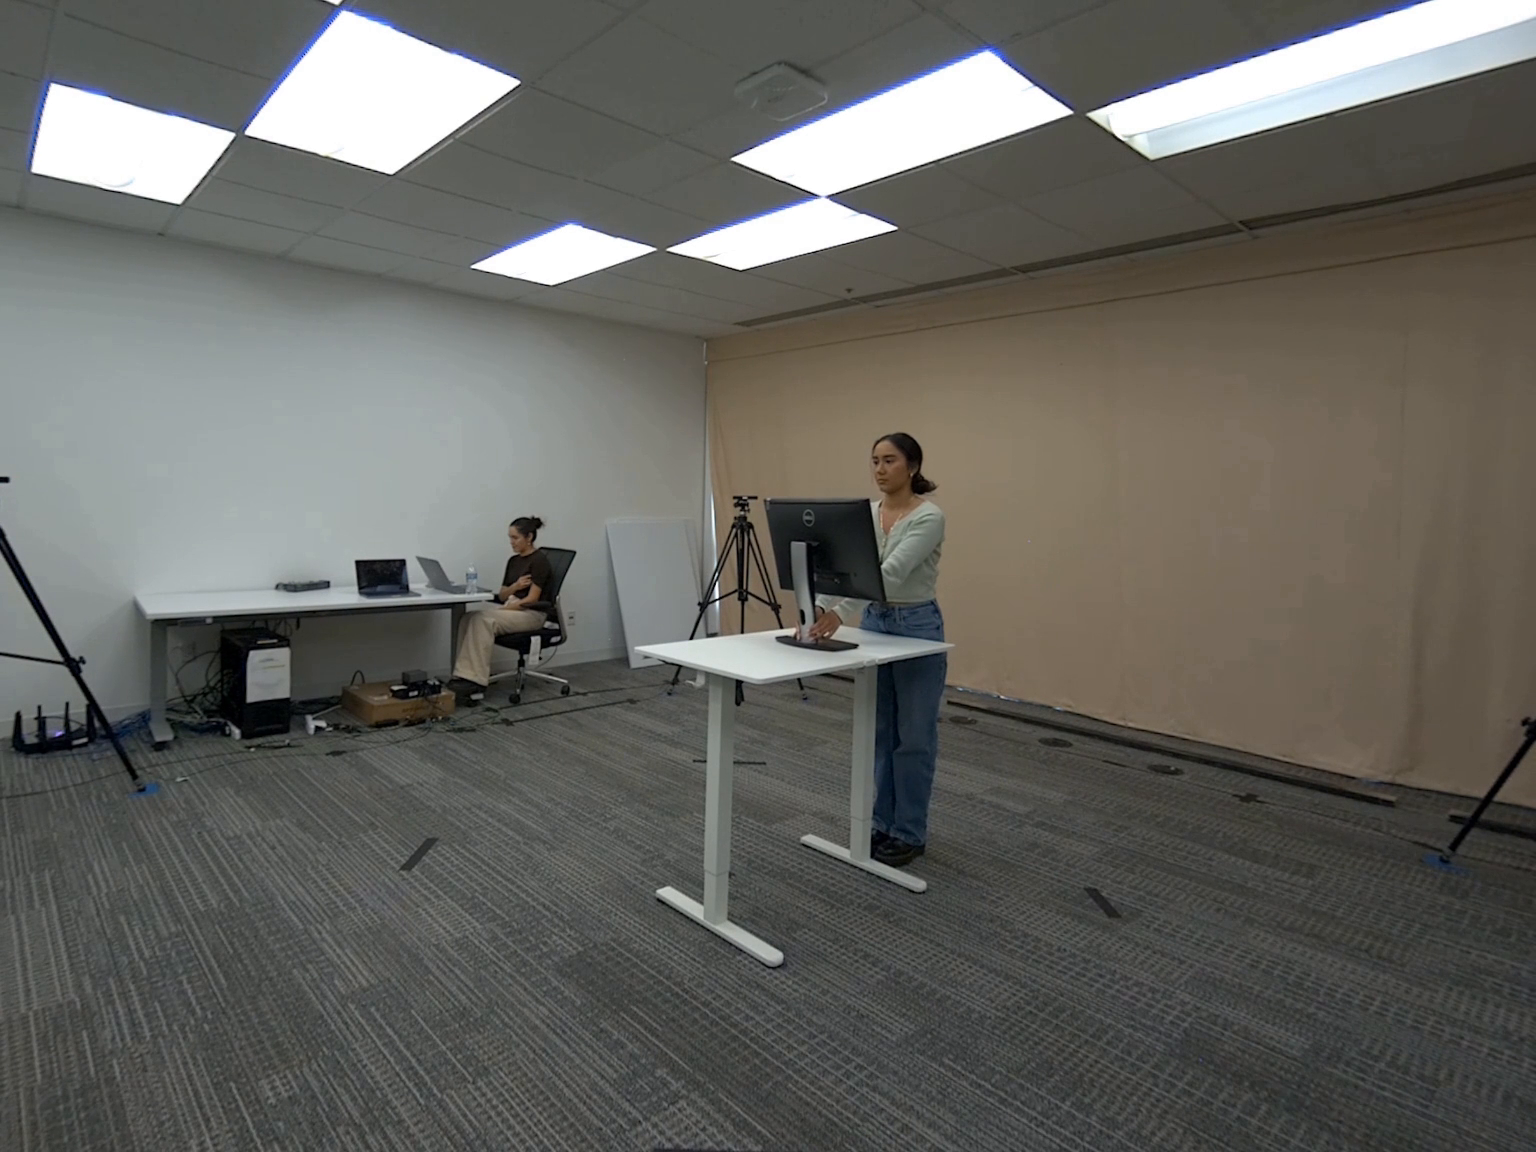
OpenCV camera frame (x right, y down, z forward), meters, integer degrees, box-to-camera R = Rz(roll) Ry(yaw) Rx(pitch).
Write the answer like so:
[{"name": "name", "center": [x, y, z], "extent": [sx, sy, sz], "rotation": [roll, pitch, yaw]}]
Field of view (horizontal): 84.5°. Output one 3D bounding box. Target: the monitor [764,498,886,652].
[{"name": "monitor", "center": [0.152, -0.007, 2.922], "extent": [0.183, 0.521, 0.553], "rotation": [-2, 4, -40]}]
